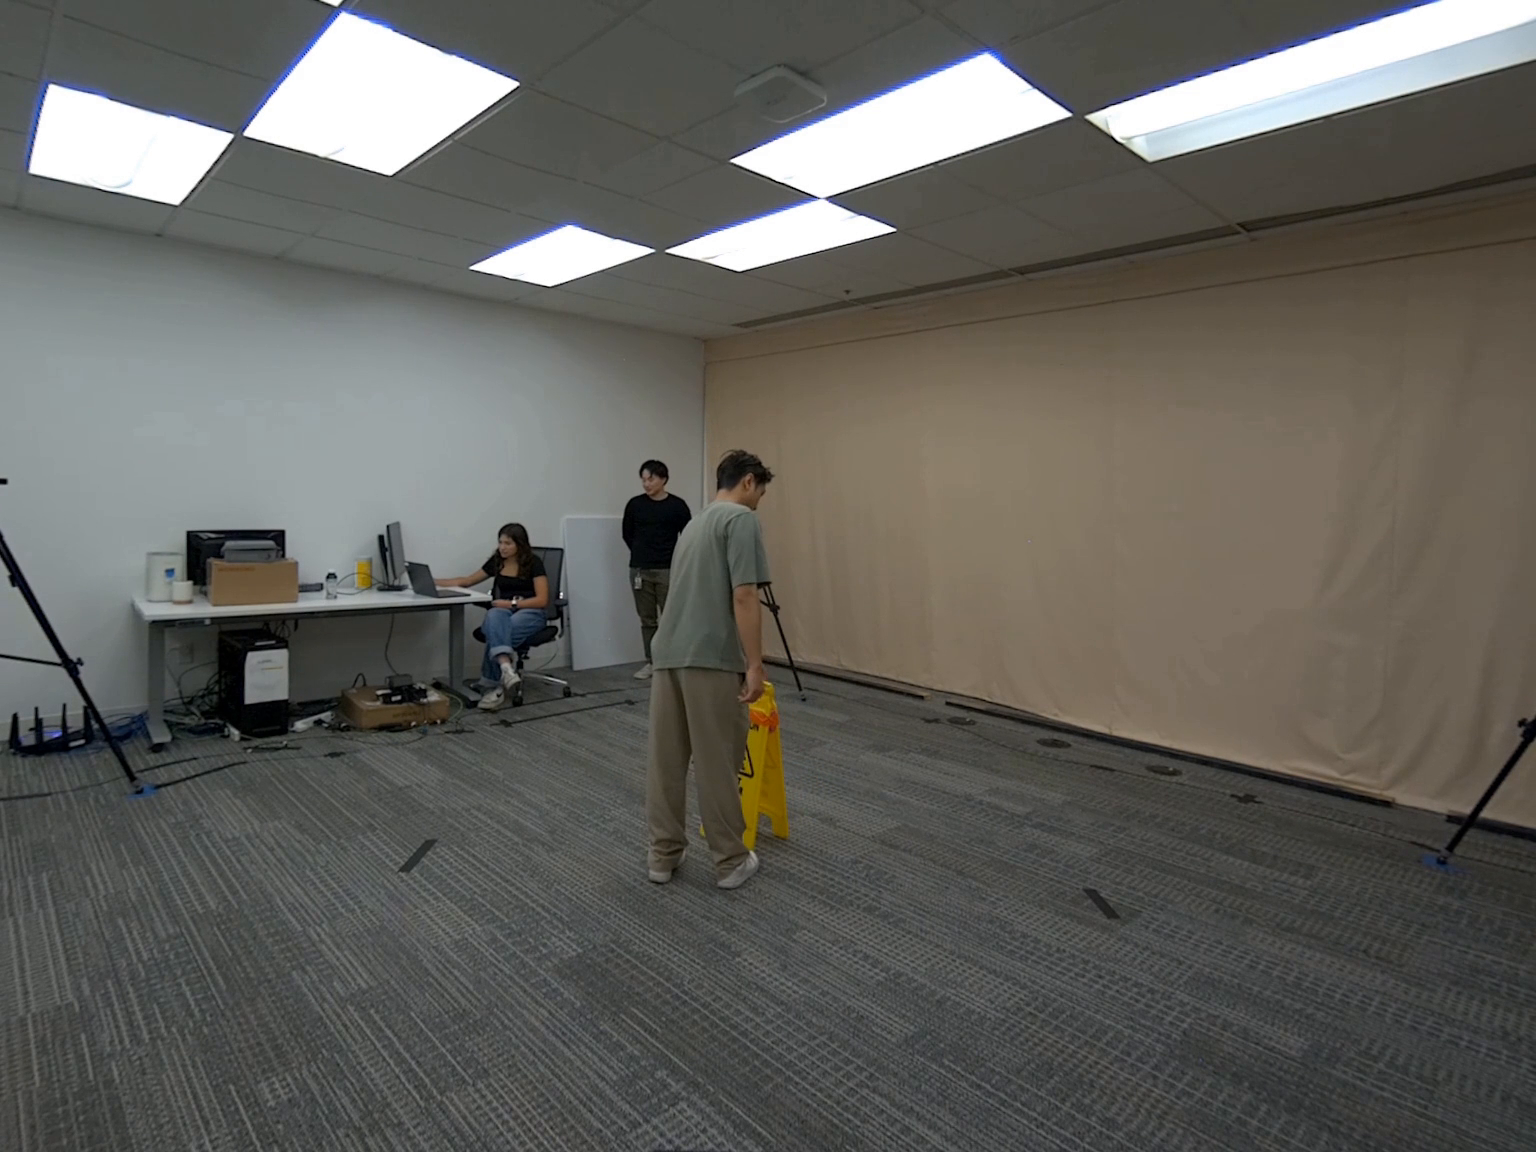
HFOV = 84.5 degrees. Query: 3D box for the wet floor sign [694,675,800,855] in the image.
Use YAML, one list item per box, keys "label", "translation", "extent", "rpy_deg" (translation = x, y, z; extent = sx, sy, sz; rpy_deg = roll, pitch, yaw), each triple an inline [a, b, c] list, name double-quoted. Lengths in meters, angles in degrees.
- label: "wet floor sign"
  translation: [-0.087, 0.745, 3.441]
  extent: [0.289, 0.645, 0.283]
  rpy_deg: [4, 2, 40]
